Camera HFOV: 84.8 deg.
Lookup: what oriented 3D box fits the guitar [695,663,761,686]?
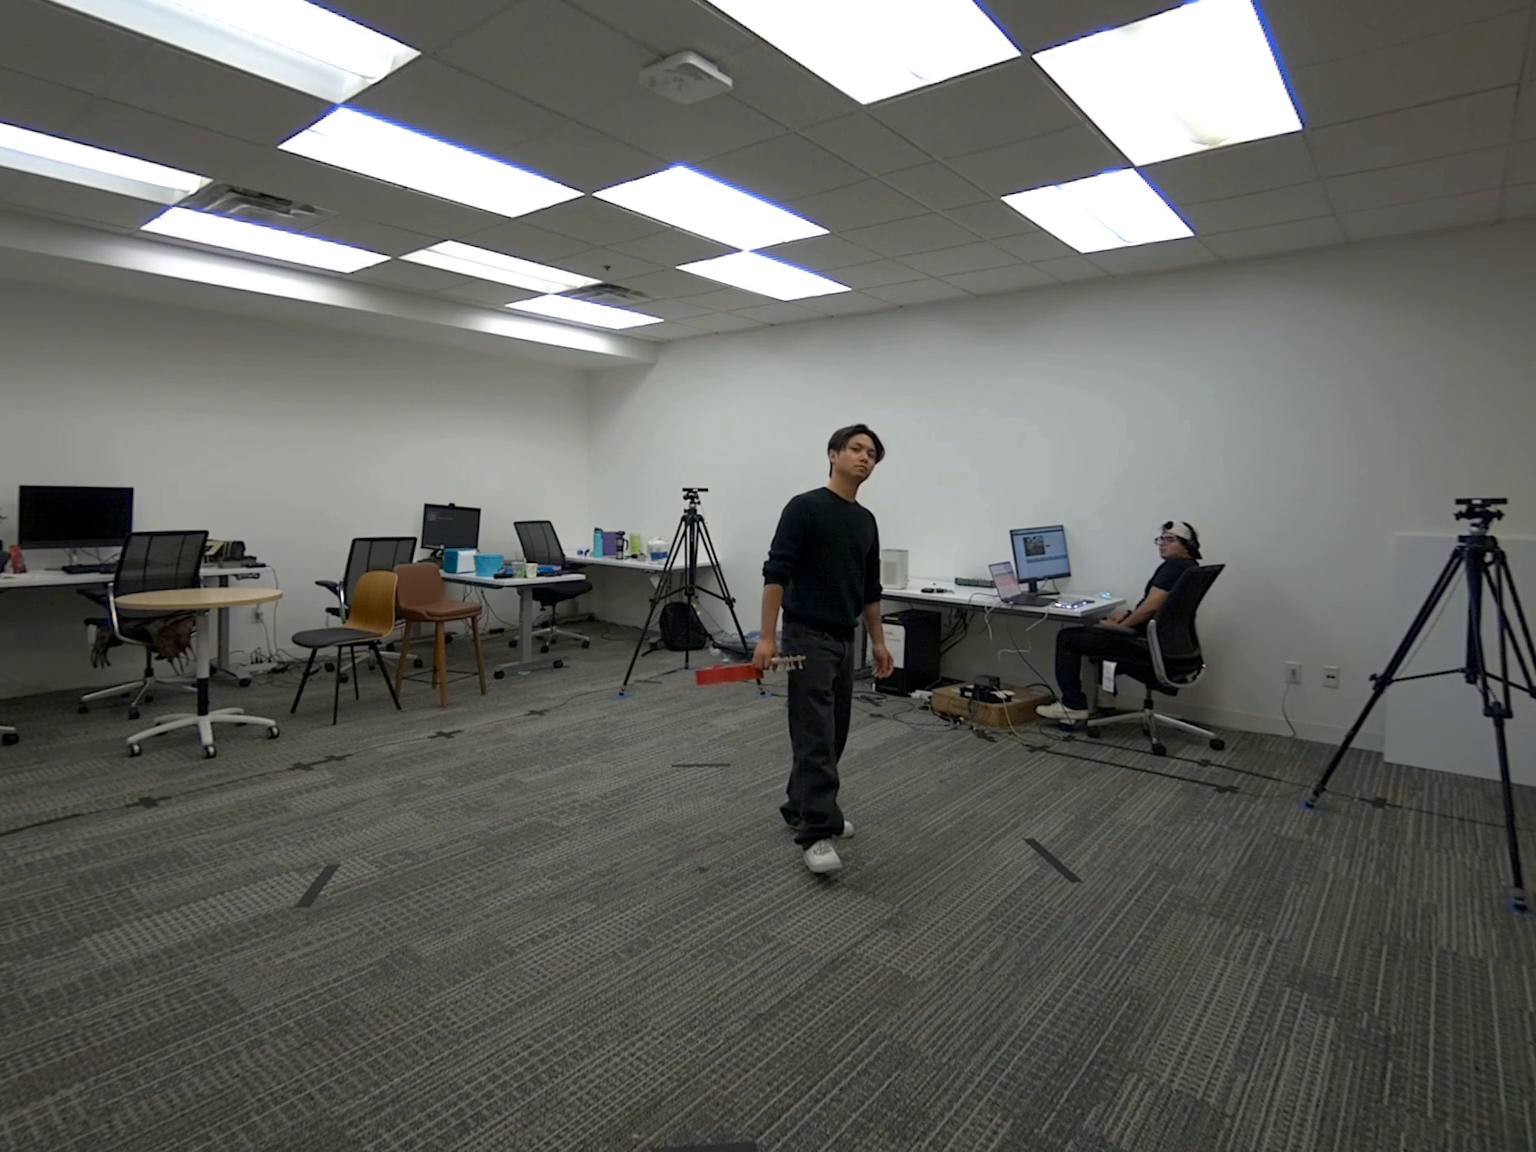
[{"bbox_3d":[-0.091,0.355,3.195,0.187,0.071,0.509,-4,-6,-41],"label":"guitar"}]
